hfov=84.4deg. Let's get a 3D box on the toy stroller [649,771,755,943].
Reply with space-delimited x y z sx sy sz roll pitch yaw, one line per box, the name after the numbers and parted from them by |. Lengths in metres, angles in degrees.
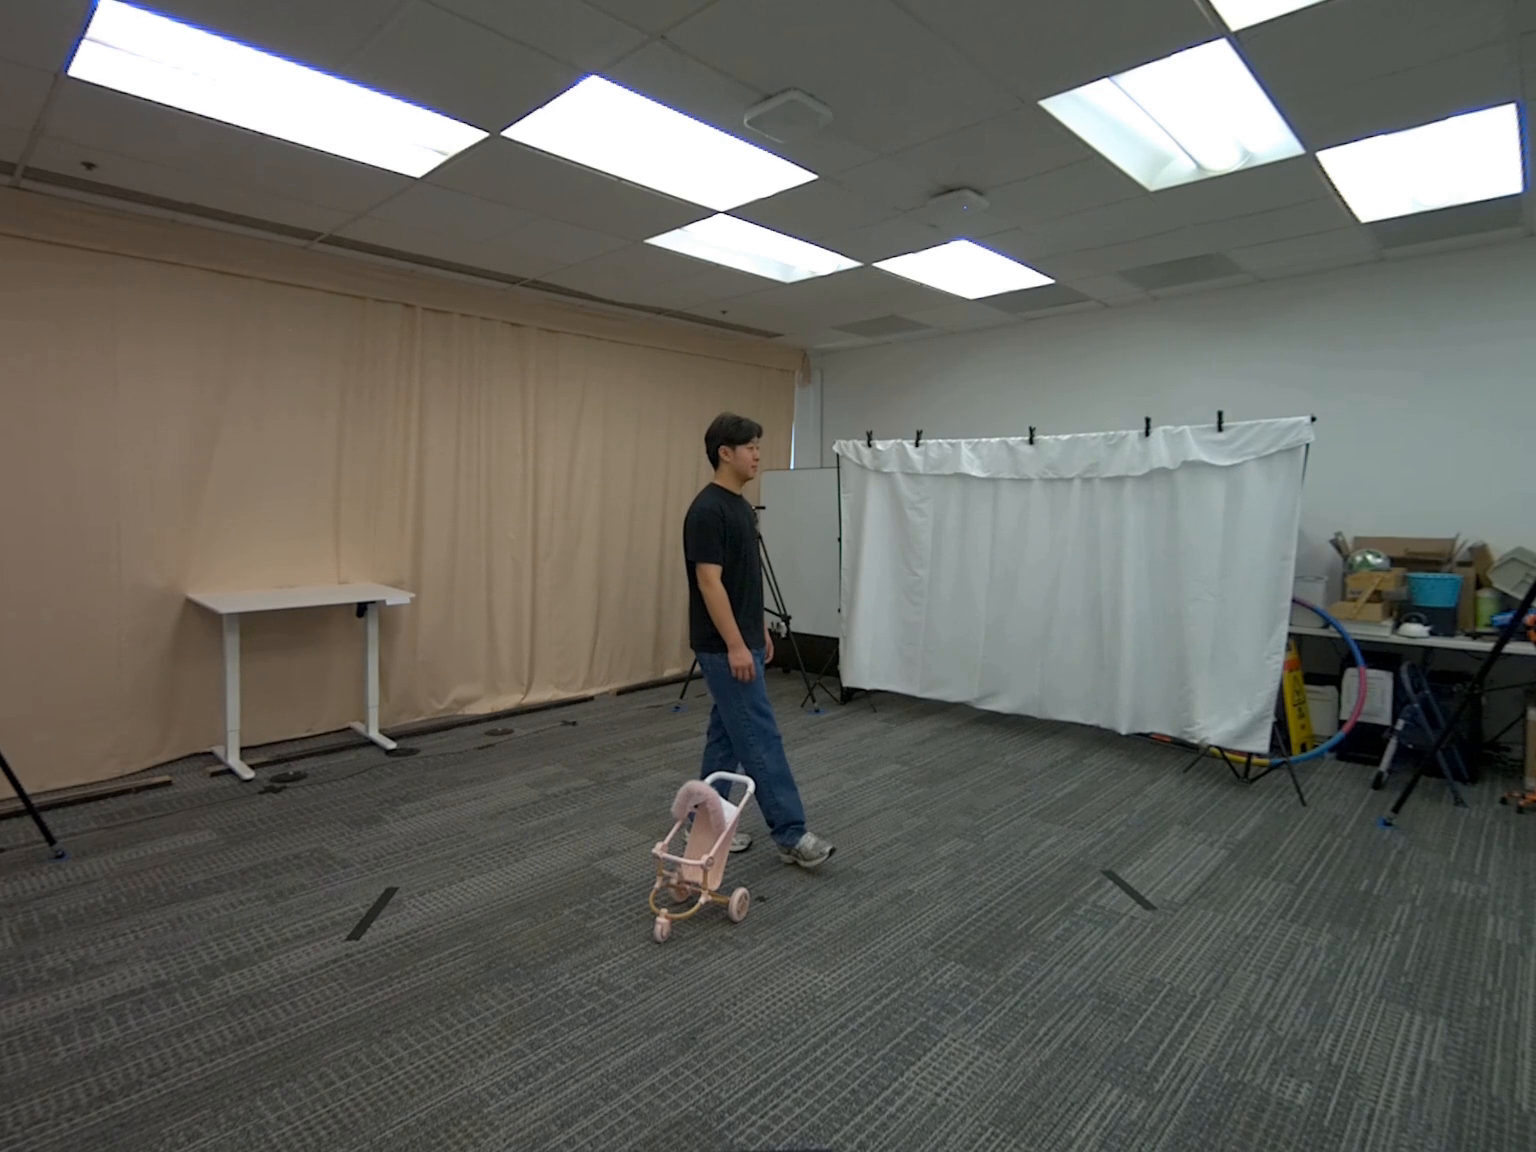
-0.240 0.931 2.837 0.290 0.537 0.329 1 -12 38 | toy stroller
